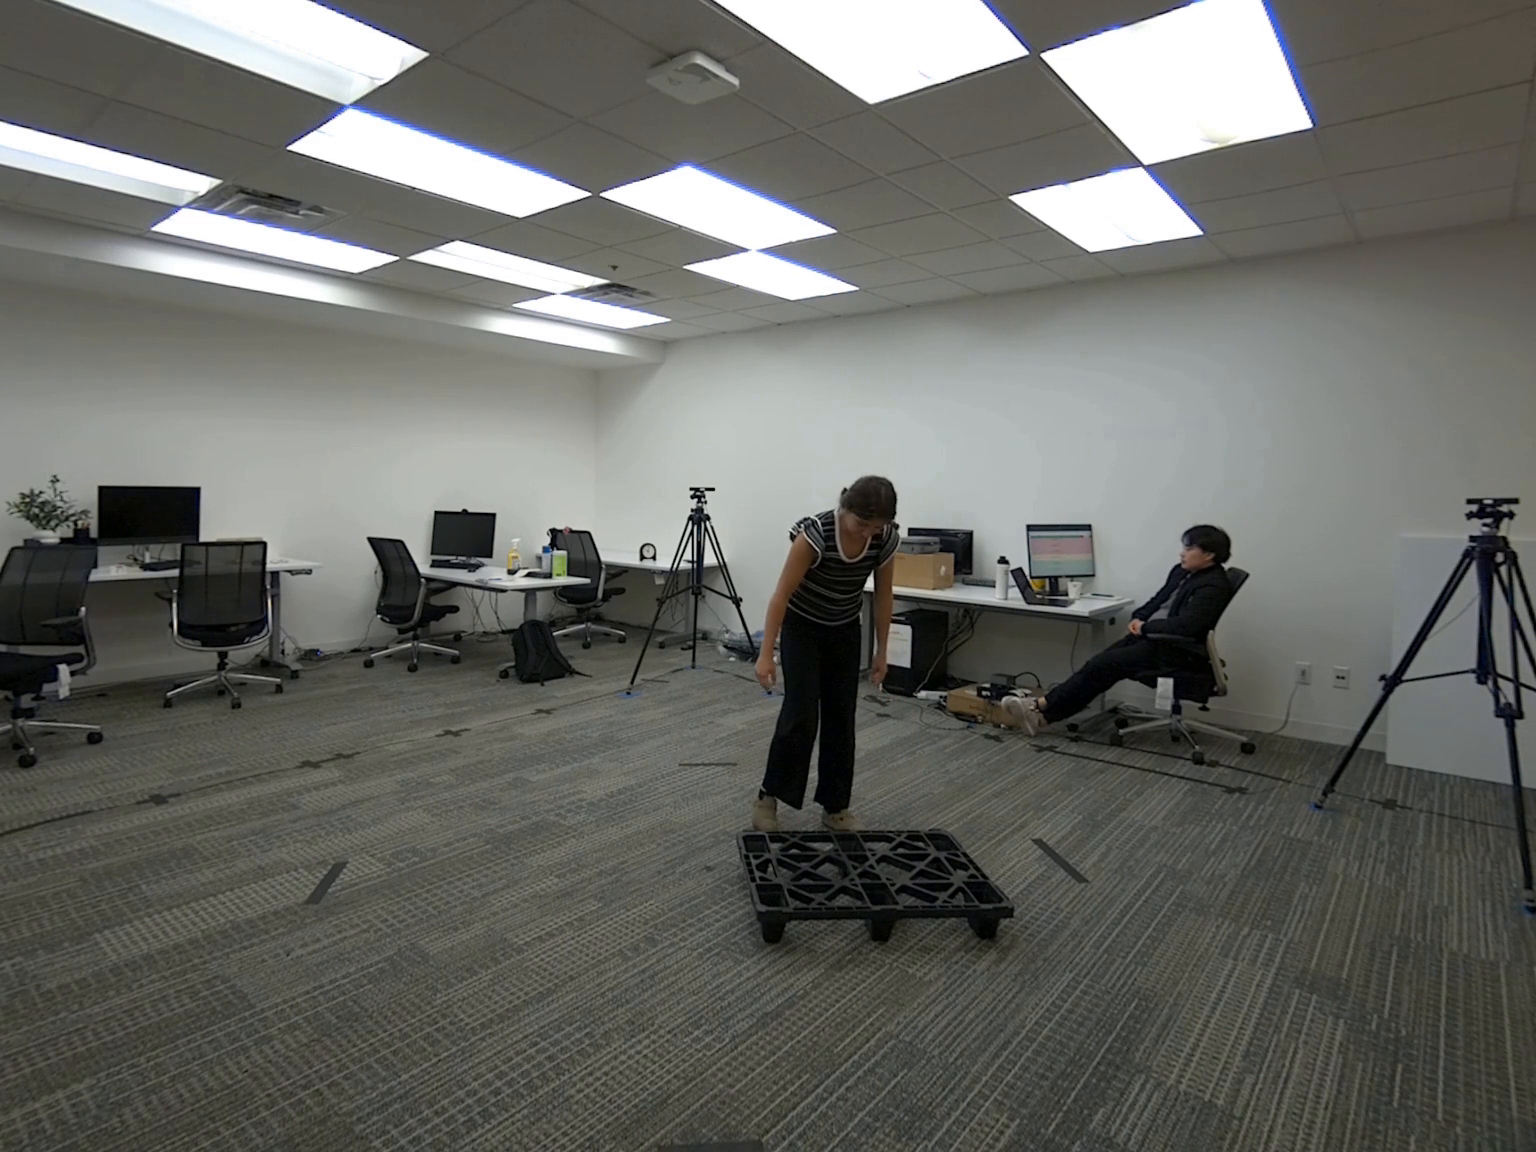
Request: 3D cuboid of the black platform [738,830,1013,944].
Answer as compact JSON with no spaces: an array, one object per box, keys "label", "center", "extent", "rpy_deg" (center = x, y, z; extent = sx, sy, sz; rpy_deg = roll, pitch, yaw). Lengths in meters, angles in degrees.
[{"label":"black platform","center":[0.313,1.034,2.863],"extent":[0.801,0.142,0.612],"rpy_deg":[0,6,-6]}]
